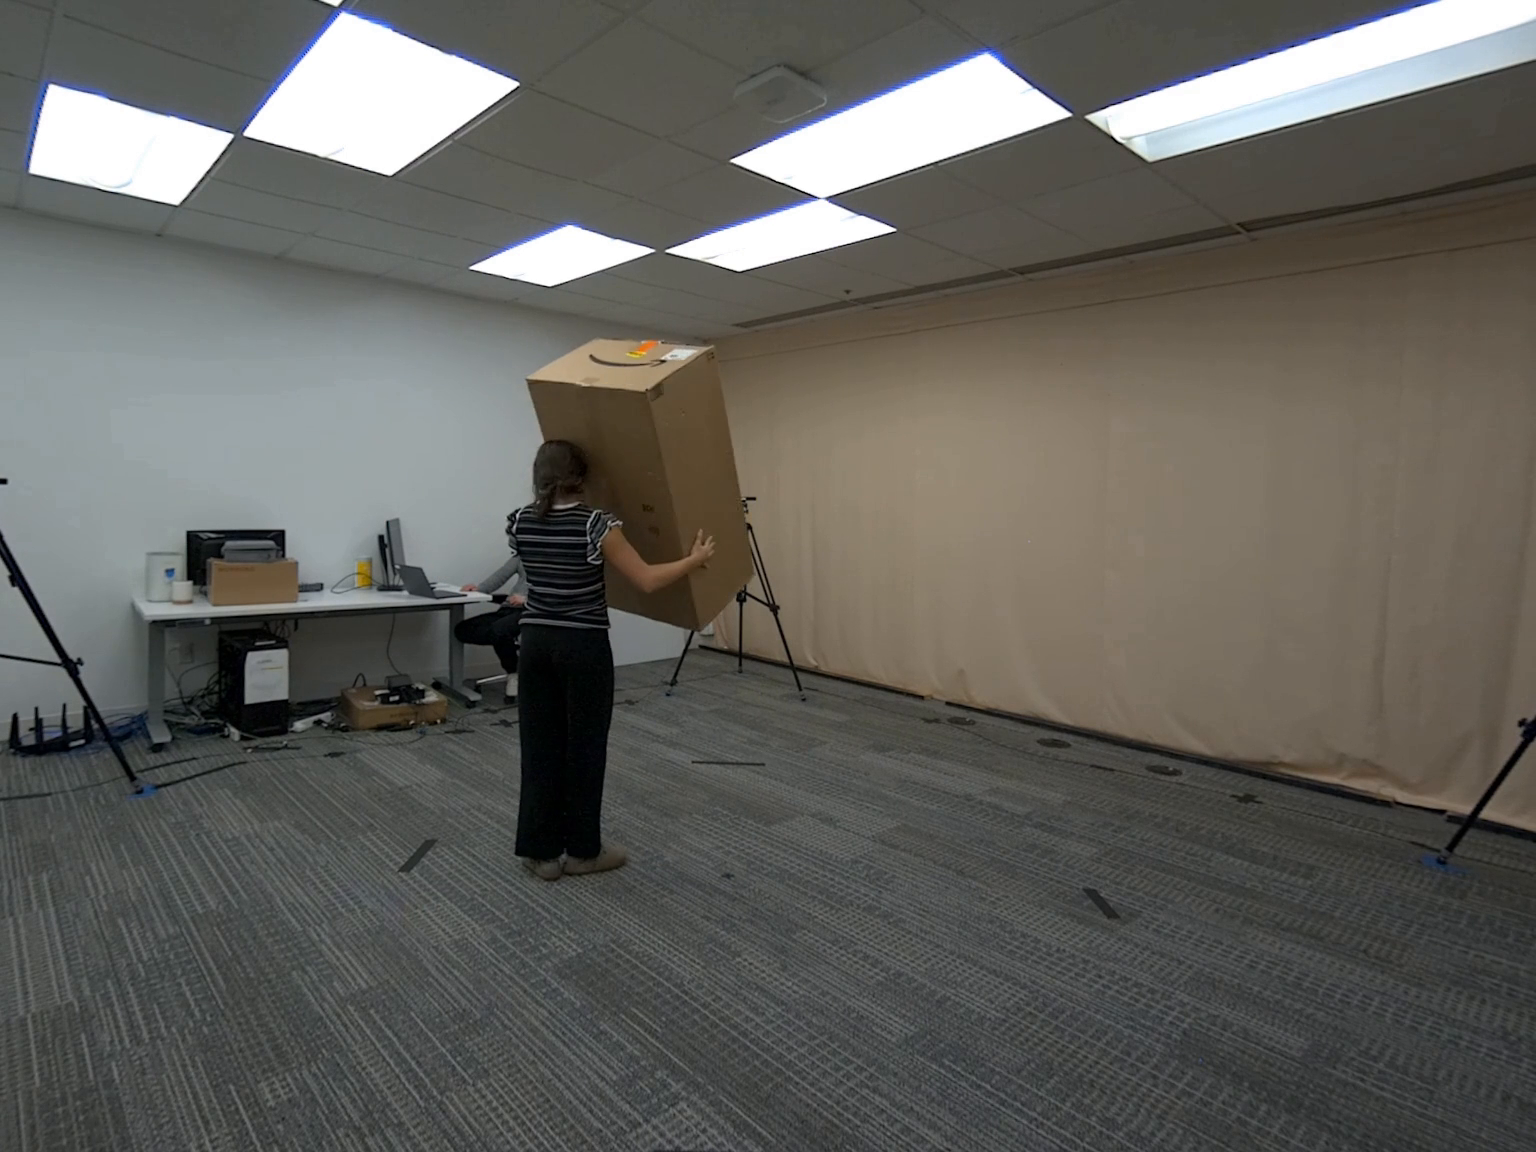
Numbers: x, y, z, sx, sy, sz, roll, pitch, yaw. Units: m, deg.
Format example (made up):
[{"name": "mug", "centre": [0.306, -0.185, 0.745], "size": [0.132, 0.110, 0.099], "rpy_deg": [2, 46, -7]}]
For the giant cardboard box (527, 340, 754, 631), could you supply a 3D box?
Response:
[{"name": "giant cardboard box", "centre": [-0.479, -0.359, 3.326], "size": [0.592, 1.002, 0.425], "rpy_deg": [12, 38, 30]}]
